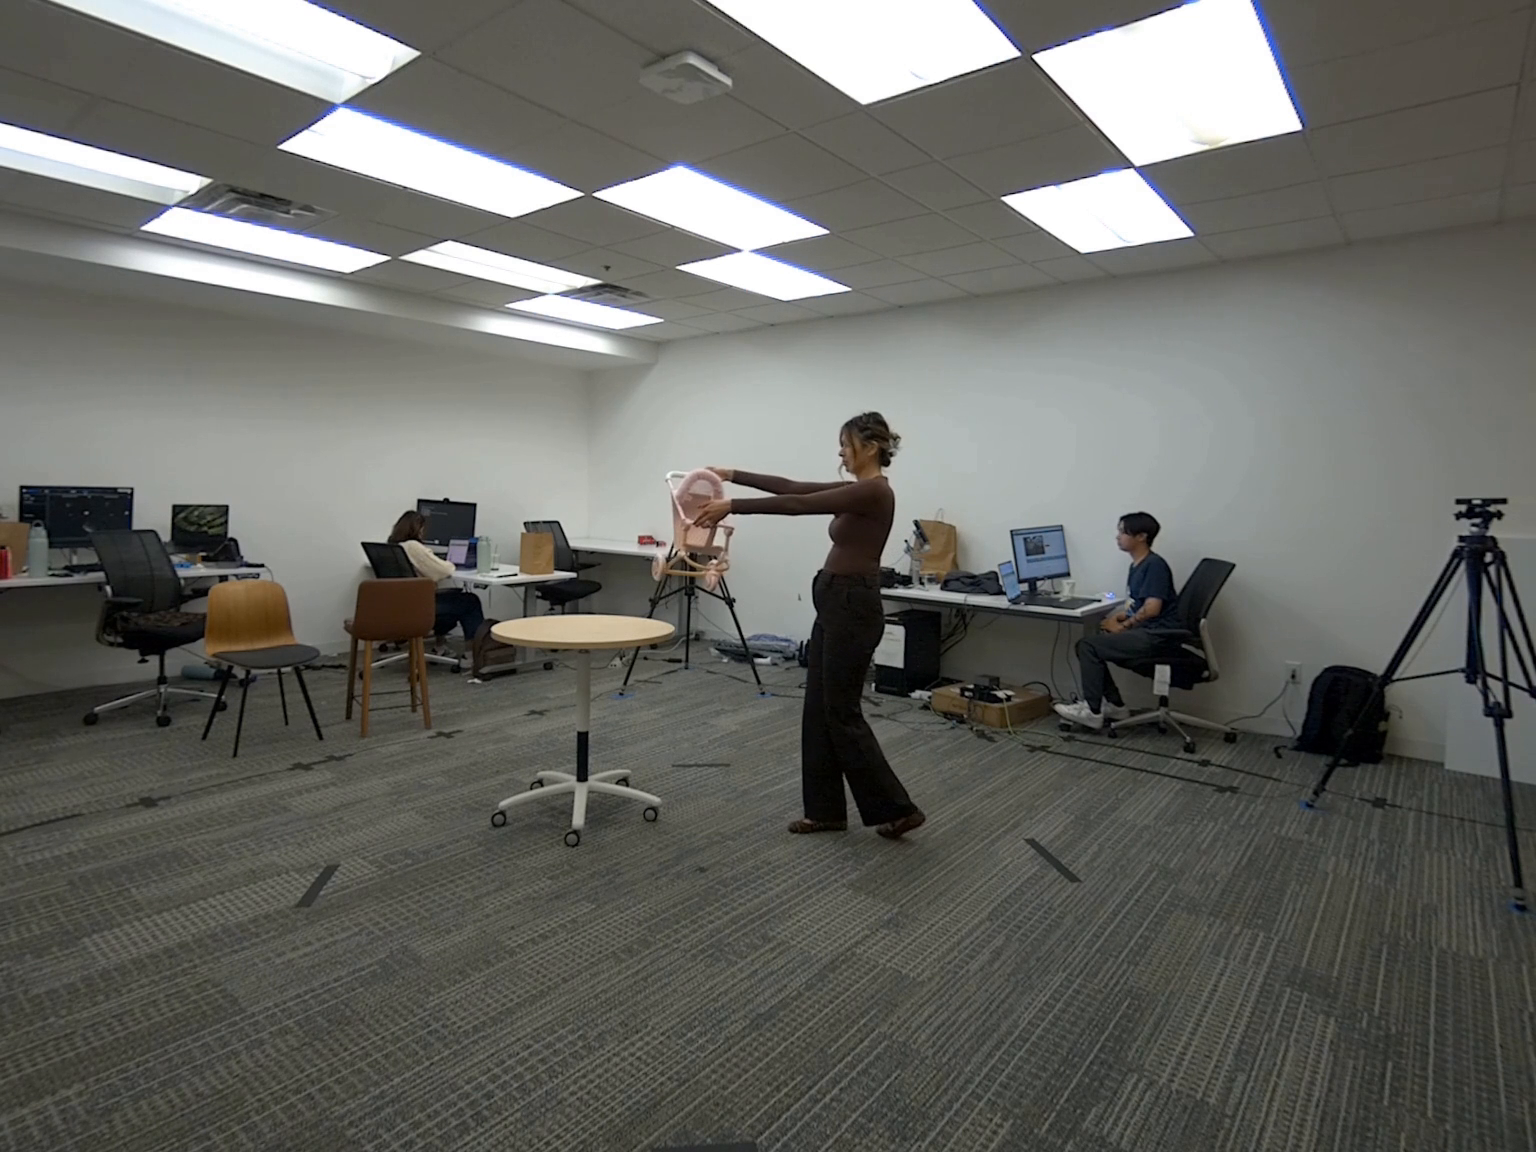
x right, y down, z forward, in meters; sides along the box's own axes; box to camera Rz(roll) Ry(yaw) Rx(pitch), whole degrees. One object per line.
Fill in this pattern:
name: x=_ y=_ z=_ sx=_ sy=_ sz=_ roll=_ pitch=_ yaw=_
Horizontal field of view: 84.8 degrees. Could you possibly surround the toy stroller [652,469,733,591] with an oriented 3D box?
toy stroller: x=-0.287 y=-0.192 z=3.428 sx=0.275 sy=0.540 sz=0.346 roll=6 pitch=-10 yaw=-23
